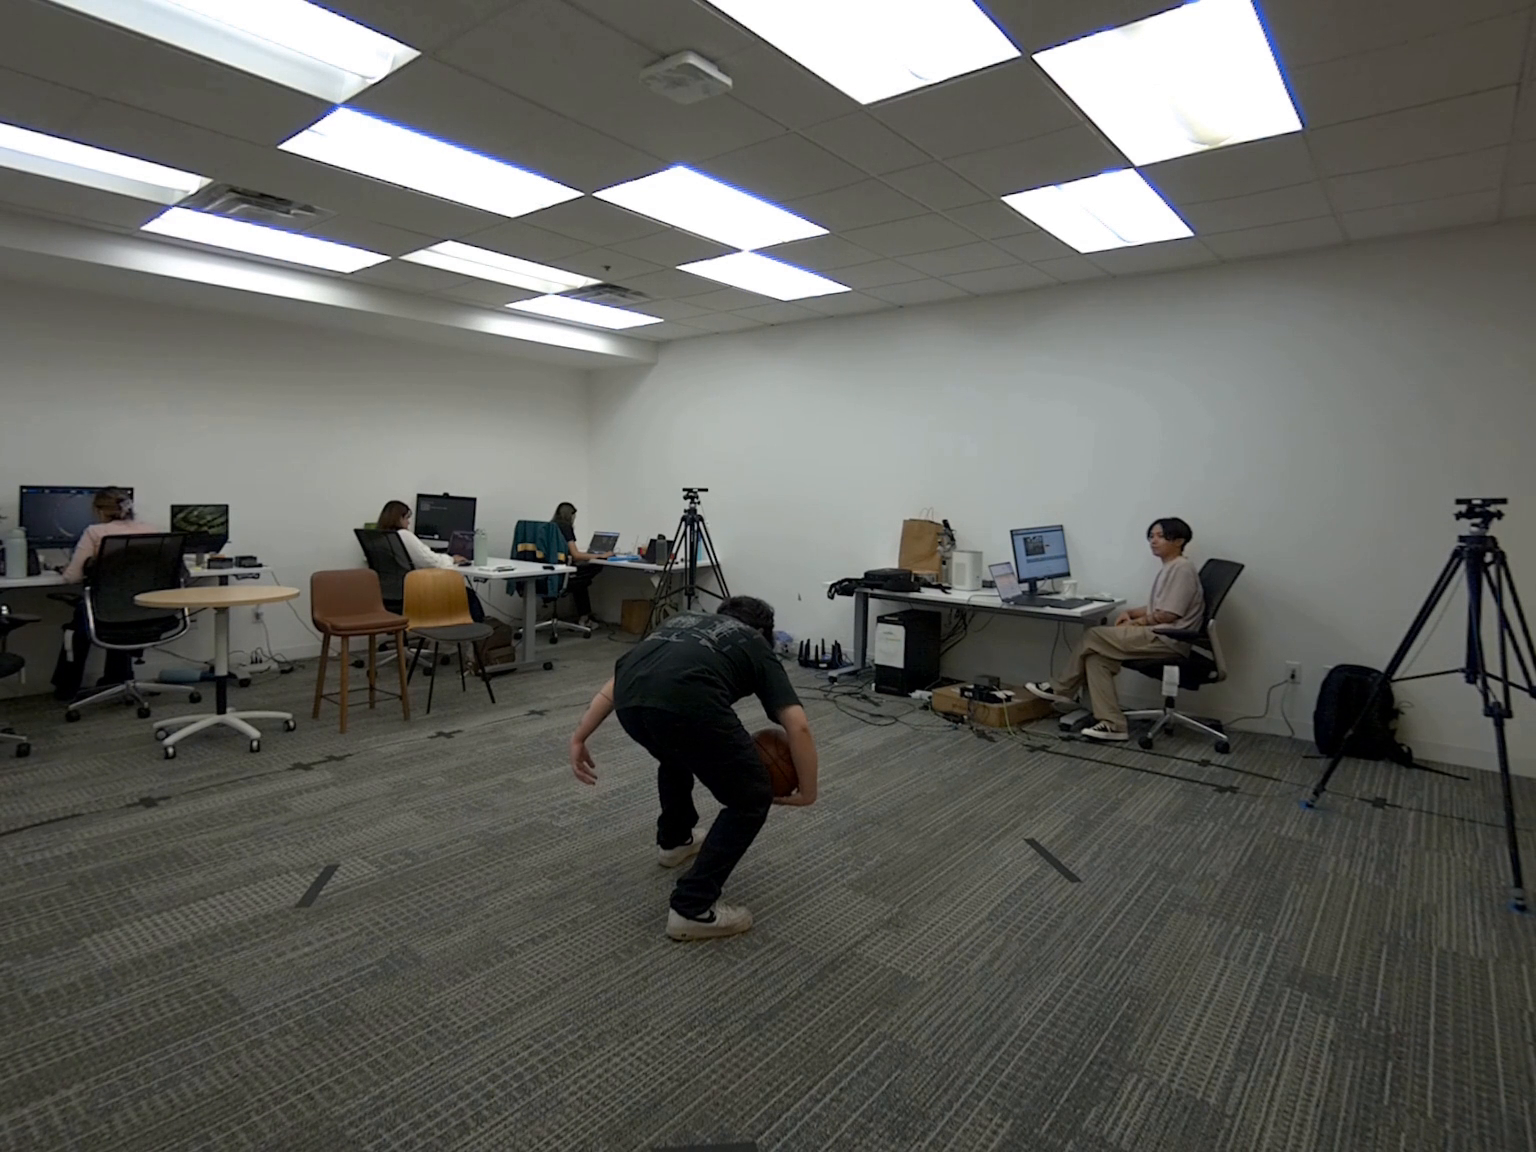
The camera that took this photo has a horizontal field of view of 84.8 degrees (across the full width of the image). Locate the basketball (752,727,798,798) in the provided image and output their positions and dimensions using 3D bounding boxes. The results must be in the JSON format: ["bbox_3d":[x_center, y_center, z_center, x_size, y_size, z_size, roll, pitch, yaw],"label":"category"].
[{"bbox_3d":[-0.007,0.657,2.975,0.235,0.235,0.237,1,4,-2],"label":"basketball"}]
